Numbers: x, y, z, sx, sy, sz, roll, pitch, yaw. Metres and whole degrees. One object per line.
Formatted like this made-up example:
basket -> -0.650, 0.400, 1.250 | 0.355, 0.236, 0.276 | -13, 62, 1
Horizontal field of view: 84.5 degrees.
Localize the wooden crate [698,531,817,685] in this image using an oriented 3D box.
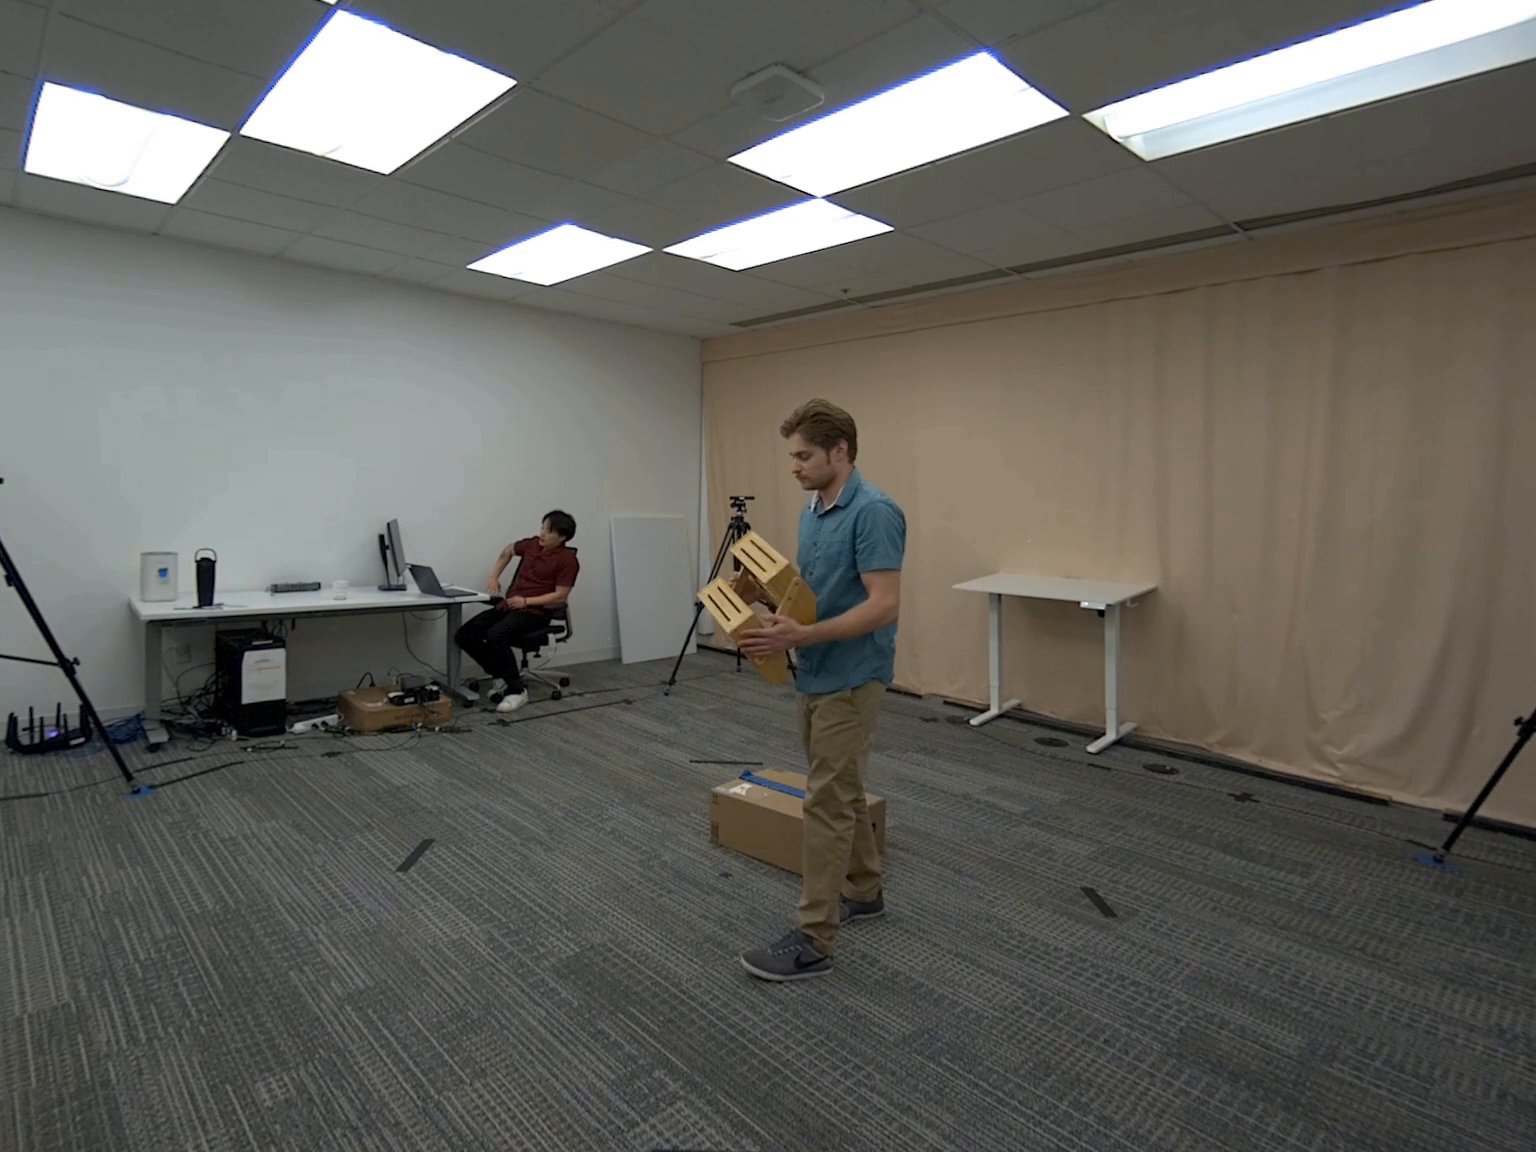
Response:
wooden crate -> -0.012, 0.094, 2.532 | 0.273, 0.294, 0.333 | -40, 29, -4
